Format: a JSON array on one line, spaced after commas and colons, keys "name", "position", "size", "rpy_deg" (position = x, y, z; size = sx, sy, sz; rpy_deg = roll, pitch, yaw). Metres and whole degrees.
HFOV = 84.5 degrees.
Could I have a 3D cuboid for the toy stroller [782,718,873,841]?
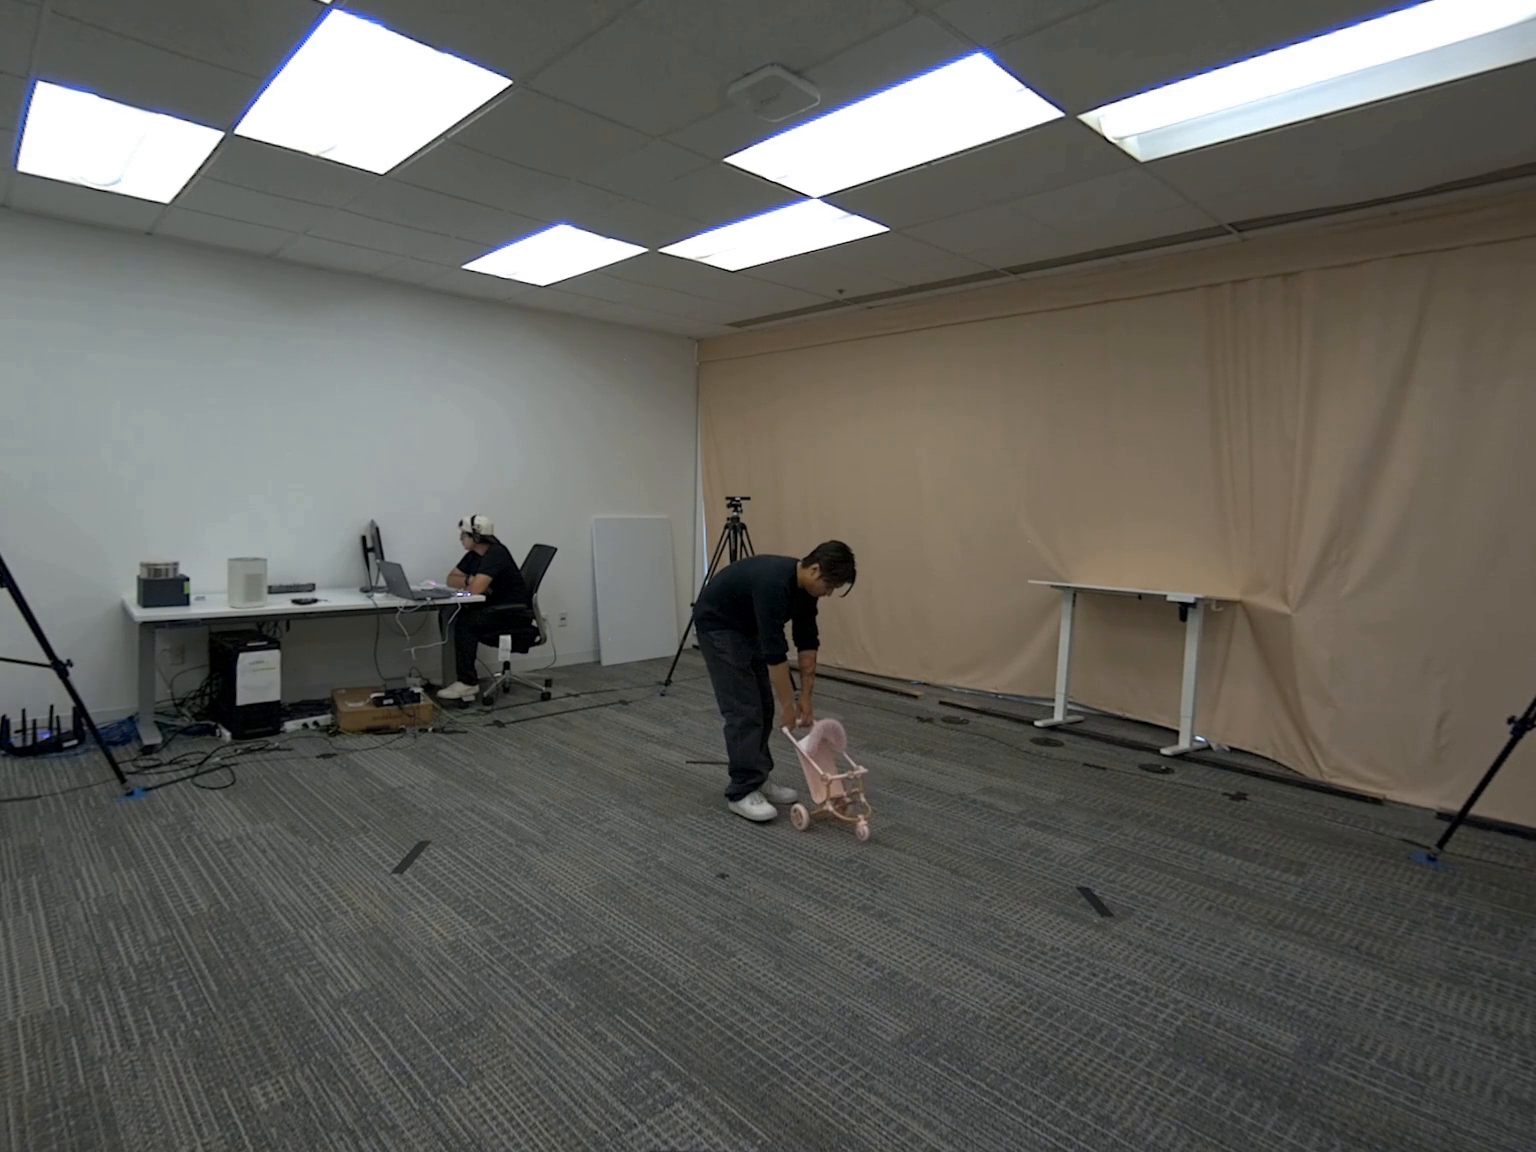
[{"name": "toy stroller", "position": [0.255, 0.849, 3.581], "size": [0.275, 0.542, 0.344], "rpy_deg": [-1, -17, -32]}]
